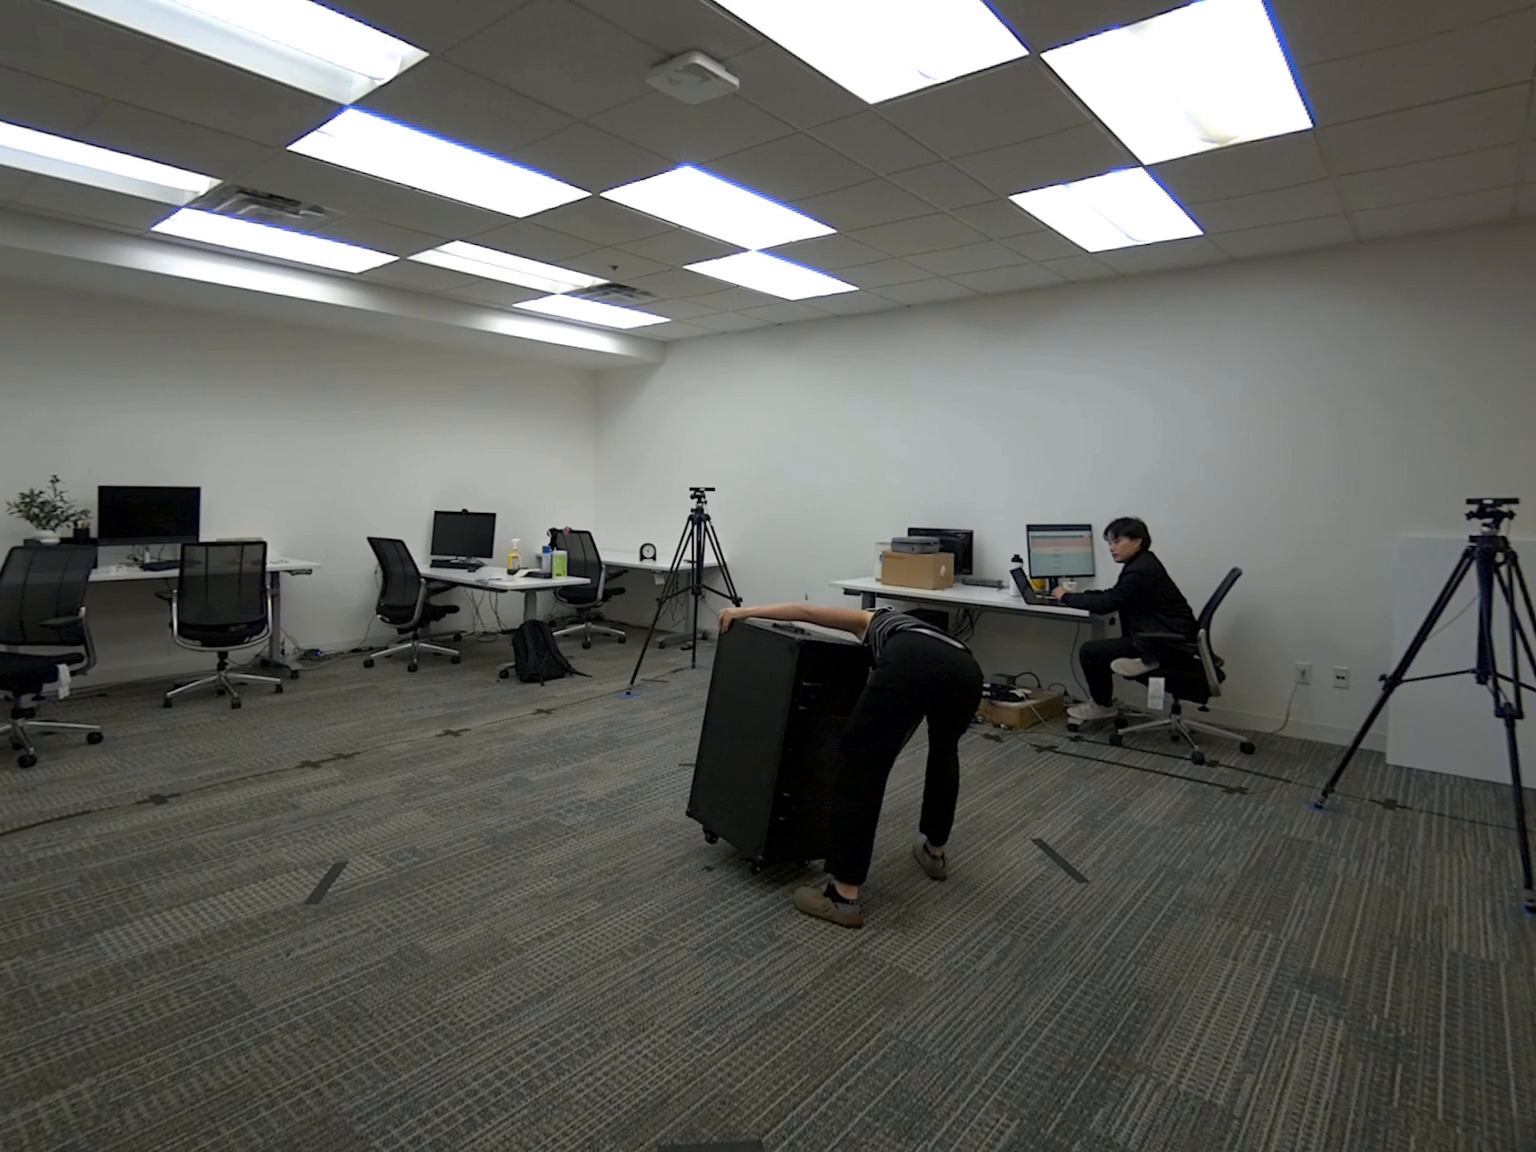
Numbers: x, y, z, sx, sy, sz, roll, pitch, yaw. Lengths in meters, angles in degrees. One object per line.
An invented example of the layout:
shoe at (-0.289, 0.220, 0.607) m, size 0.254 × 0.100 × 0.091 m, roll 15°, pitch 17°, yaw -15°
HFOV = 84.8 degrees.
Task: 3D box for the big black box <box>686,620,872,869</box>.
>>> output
big black box at (0.021, 0.620, 3.201) m, size 0.382 × 0.862 × 0.539 m, roll 11°, pitch -1°, yaw -37°
